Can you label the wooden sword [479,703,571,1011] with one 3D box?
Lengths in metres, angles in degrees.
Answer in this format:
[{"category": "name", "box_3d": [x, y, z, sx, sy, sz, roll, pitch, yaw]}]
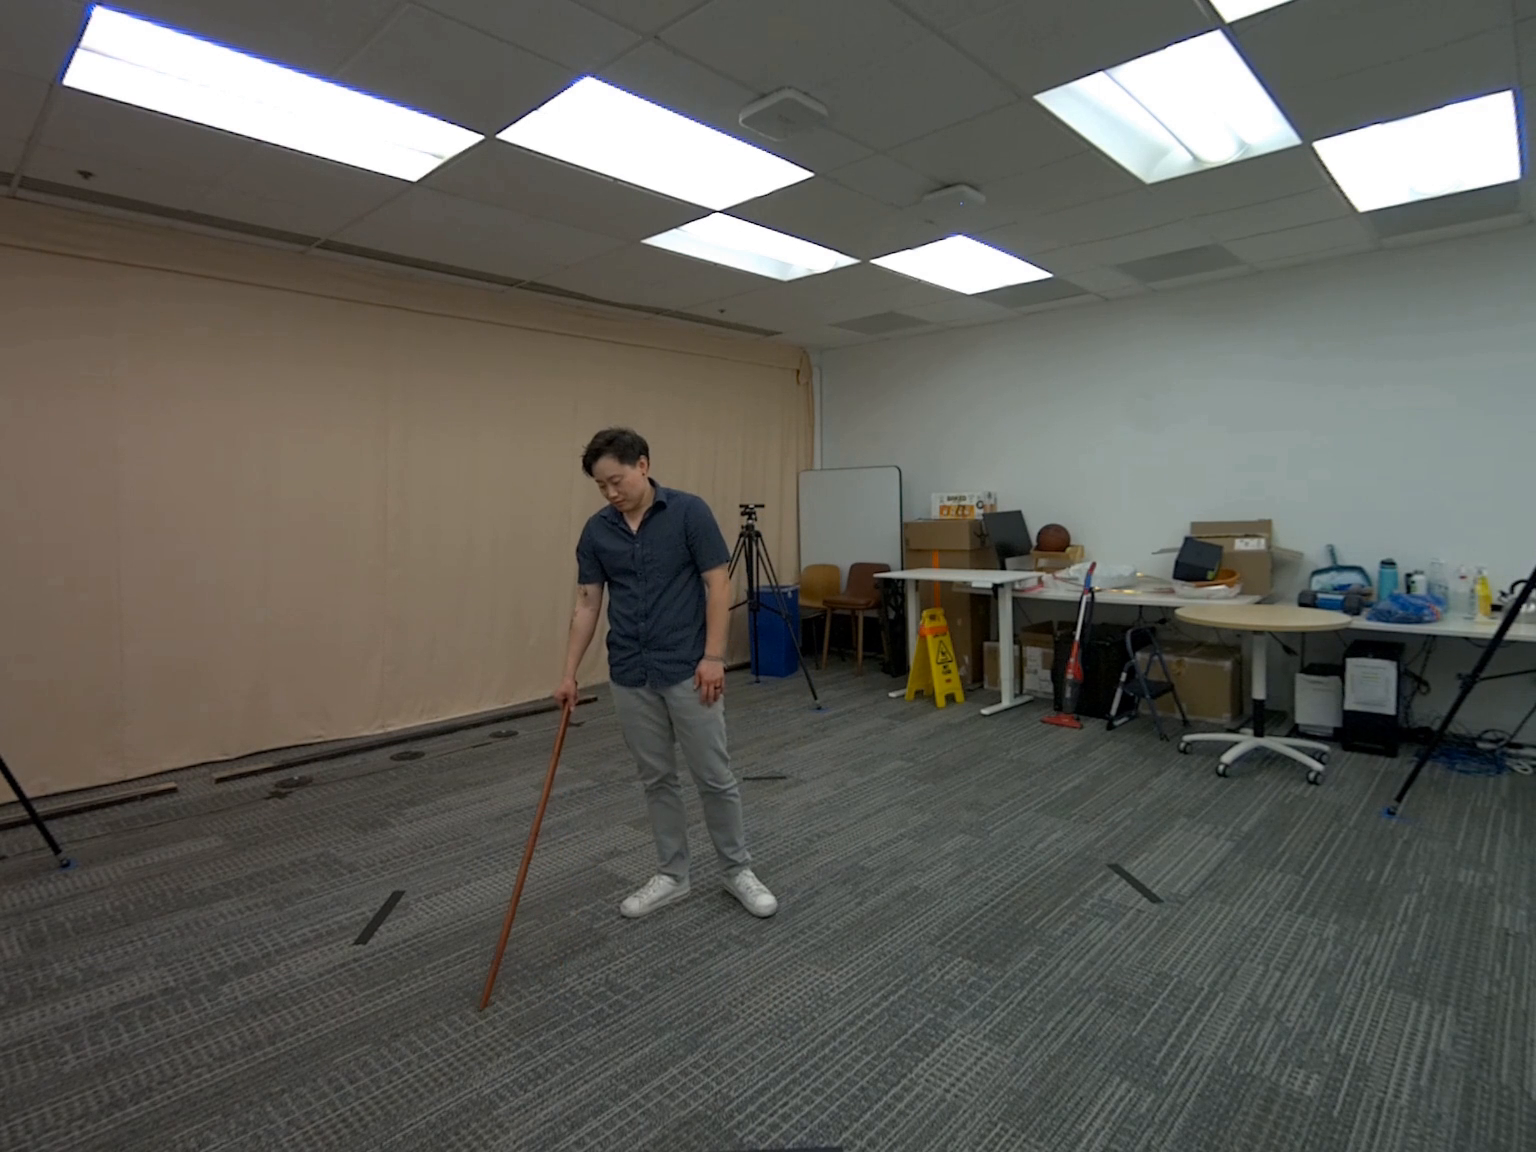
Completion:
[{"category": "wooden sword", "box_3d": [-0.717, 0.811, 2.640, 0.052, 1.036, 0.023, 1, -37, 14]}]
